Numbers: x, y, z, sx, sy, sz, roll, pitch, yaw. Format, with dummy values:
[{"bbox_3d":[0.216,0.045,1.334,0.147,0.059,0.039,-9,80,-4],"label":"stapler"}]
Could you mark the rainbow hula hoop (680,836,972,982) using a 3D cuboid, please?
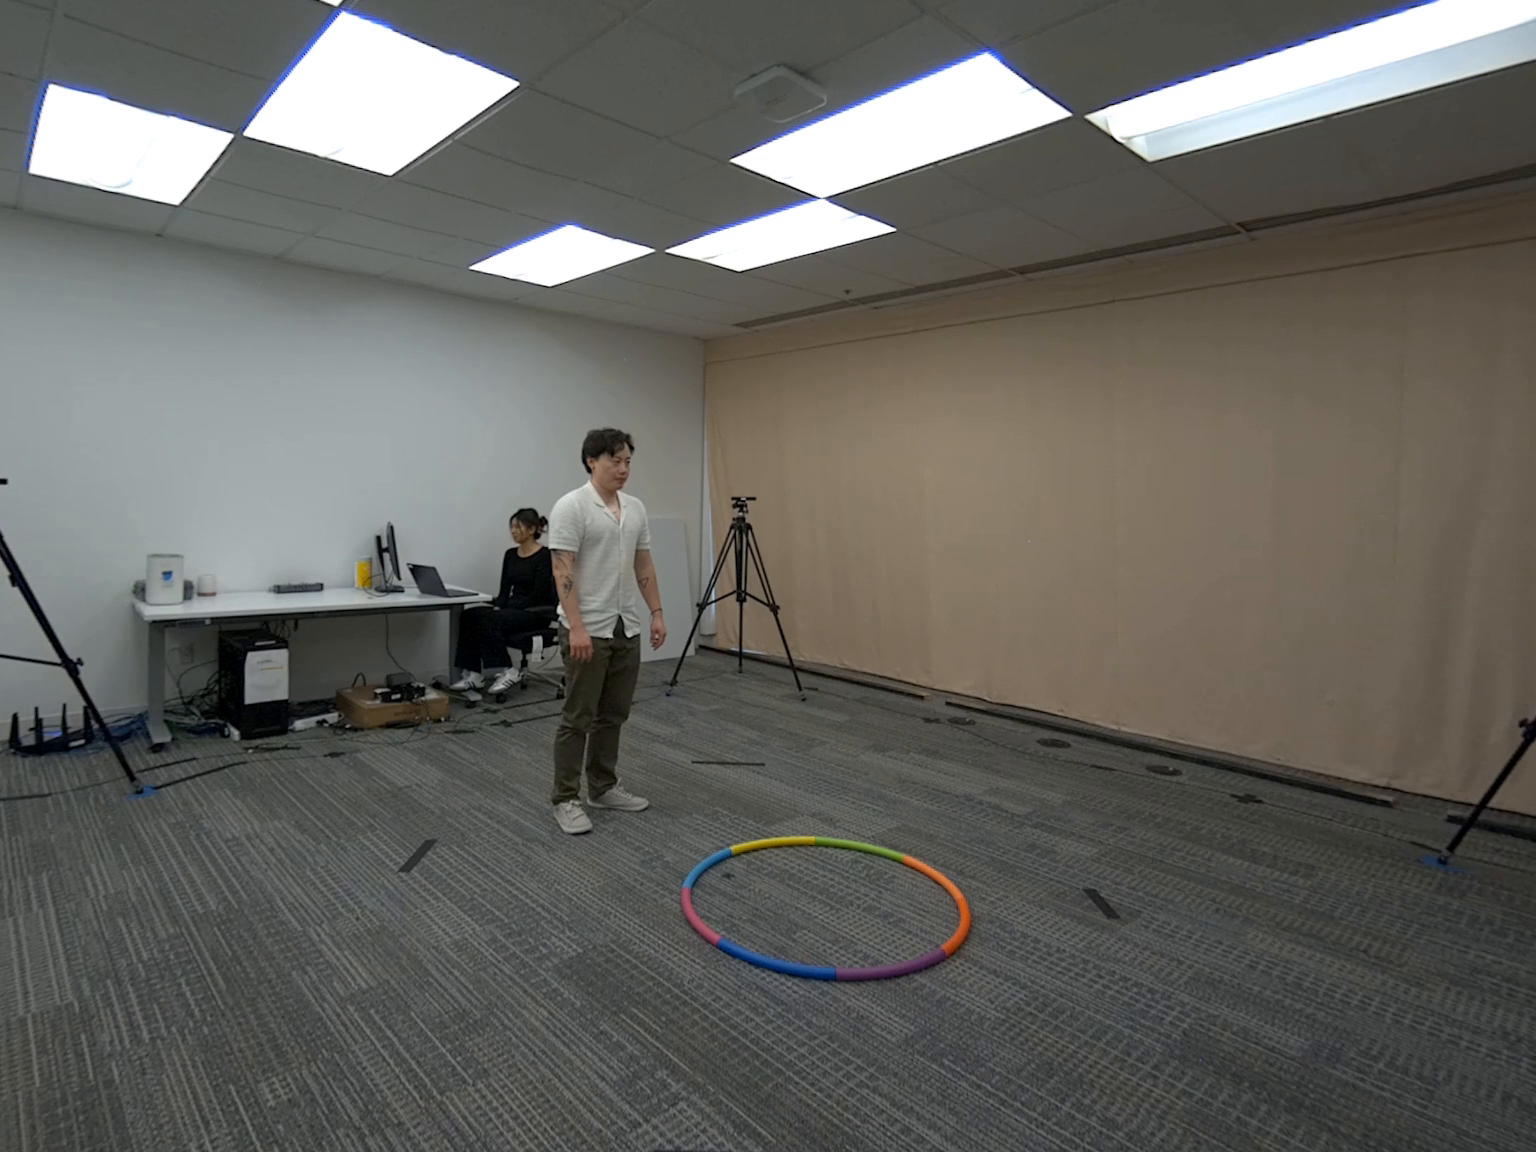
[{"bbox_3d":[0.182,1.102,2.924,0.978,0.035,0.982,1,6,-1],"label":"rainbow hula hoop"}]
